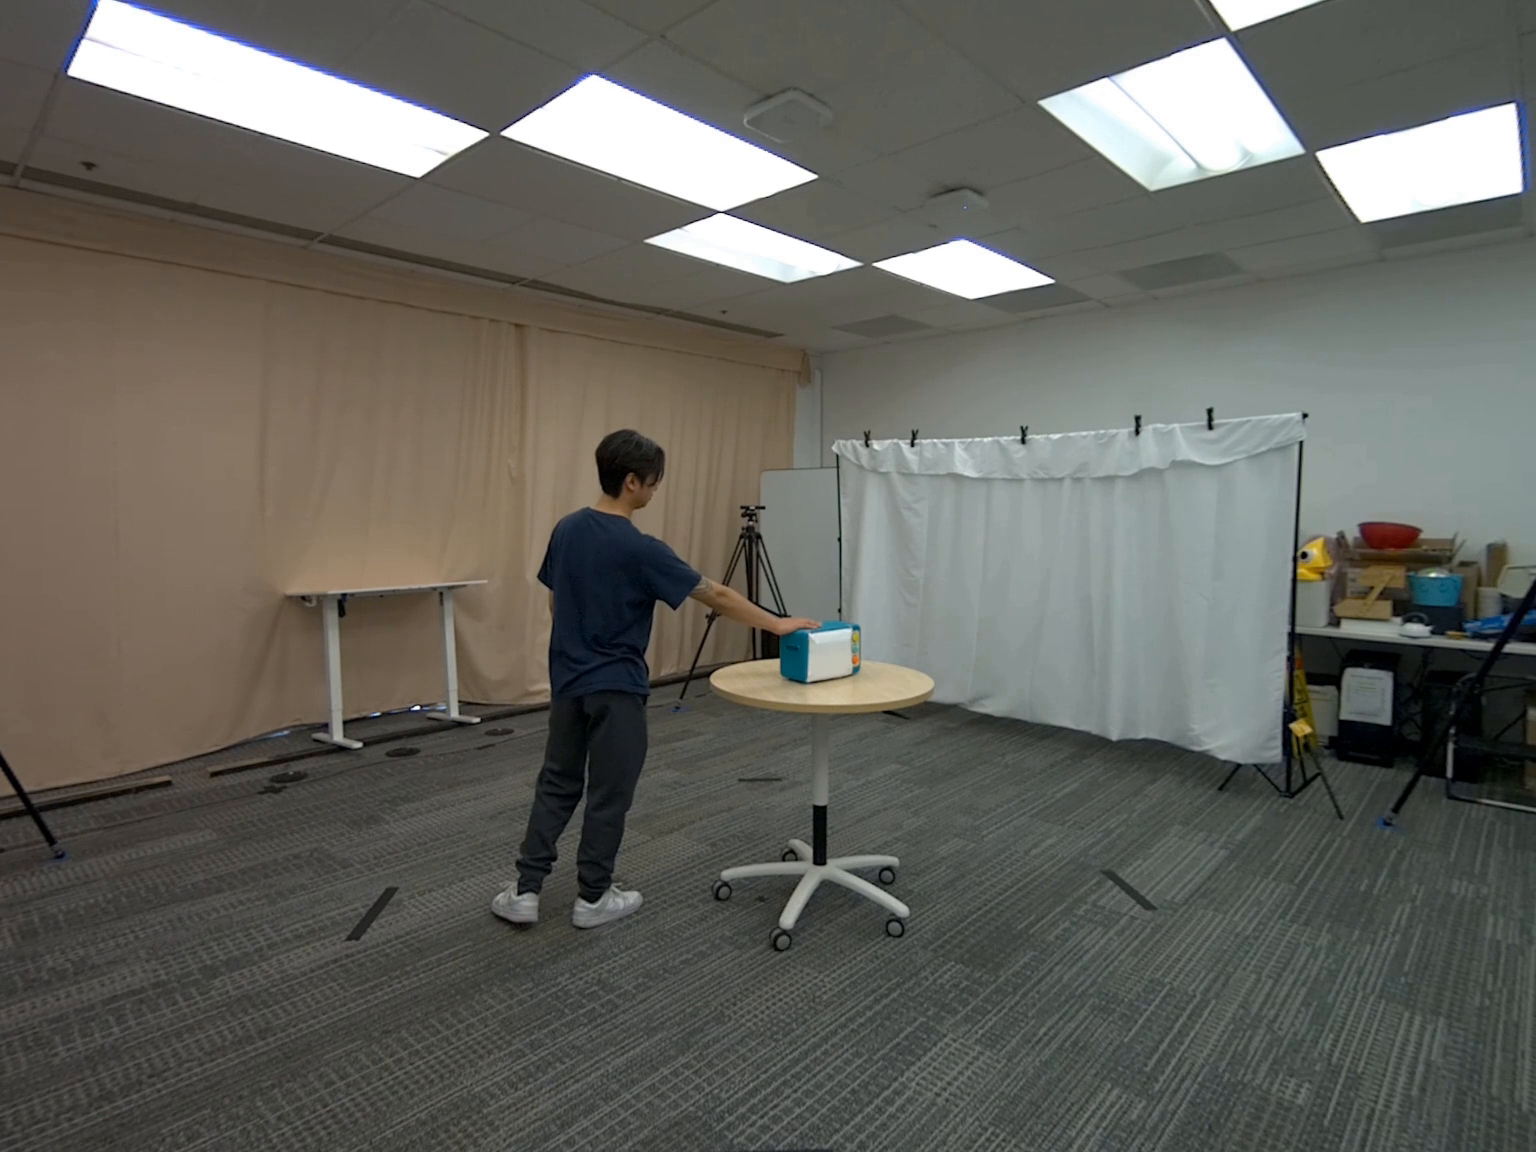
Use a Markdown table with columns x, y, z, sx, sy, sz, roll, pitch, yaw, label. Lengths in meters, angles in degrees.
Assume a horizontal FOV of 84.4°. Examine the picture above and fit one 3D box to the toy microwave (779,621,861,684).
| x | y | z | sx | sy | sz | roll | pitch | yaw | label |
| --- | --- | --- | --- | --- | --- | --- | --- | --- | --- |
| 0.197 | 0.263 | 2.918 | 0.278 | 0.183 | 0.157 | -4 | 6 | -38 | toy microwave |
